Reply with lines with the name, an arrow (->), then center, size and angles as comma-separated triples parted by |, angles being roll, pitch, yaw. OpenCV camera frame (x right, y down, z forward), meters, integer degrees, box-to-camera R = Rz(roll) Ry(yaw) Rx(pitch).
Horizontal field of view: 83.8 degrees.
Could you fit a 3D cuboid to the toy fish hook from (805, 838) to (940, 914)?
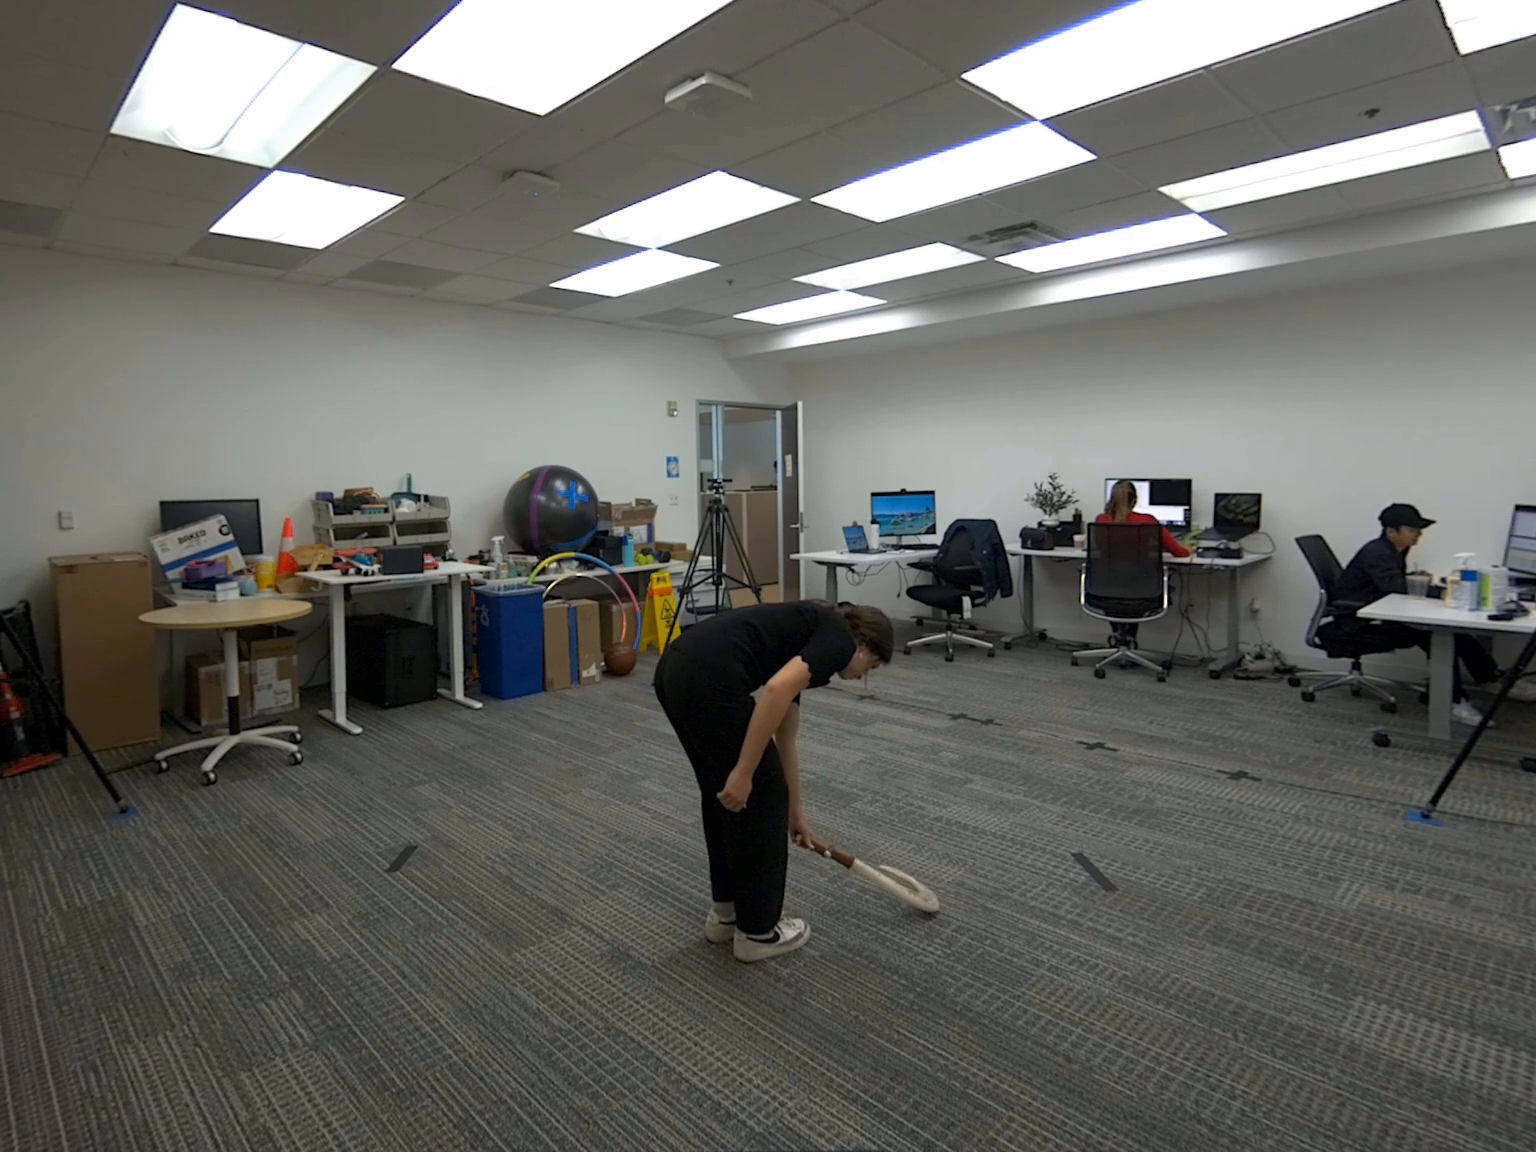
toy fish hook -> 0.320, 0.950, 2.793 | 0.510, 0.048, 0.223 | 26, -1, 4
